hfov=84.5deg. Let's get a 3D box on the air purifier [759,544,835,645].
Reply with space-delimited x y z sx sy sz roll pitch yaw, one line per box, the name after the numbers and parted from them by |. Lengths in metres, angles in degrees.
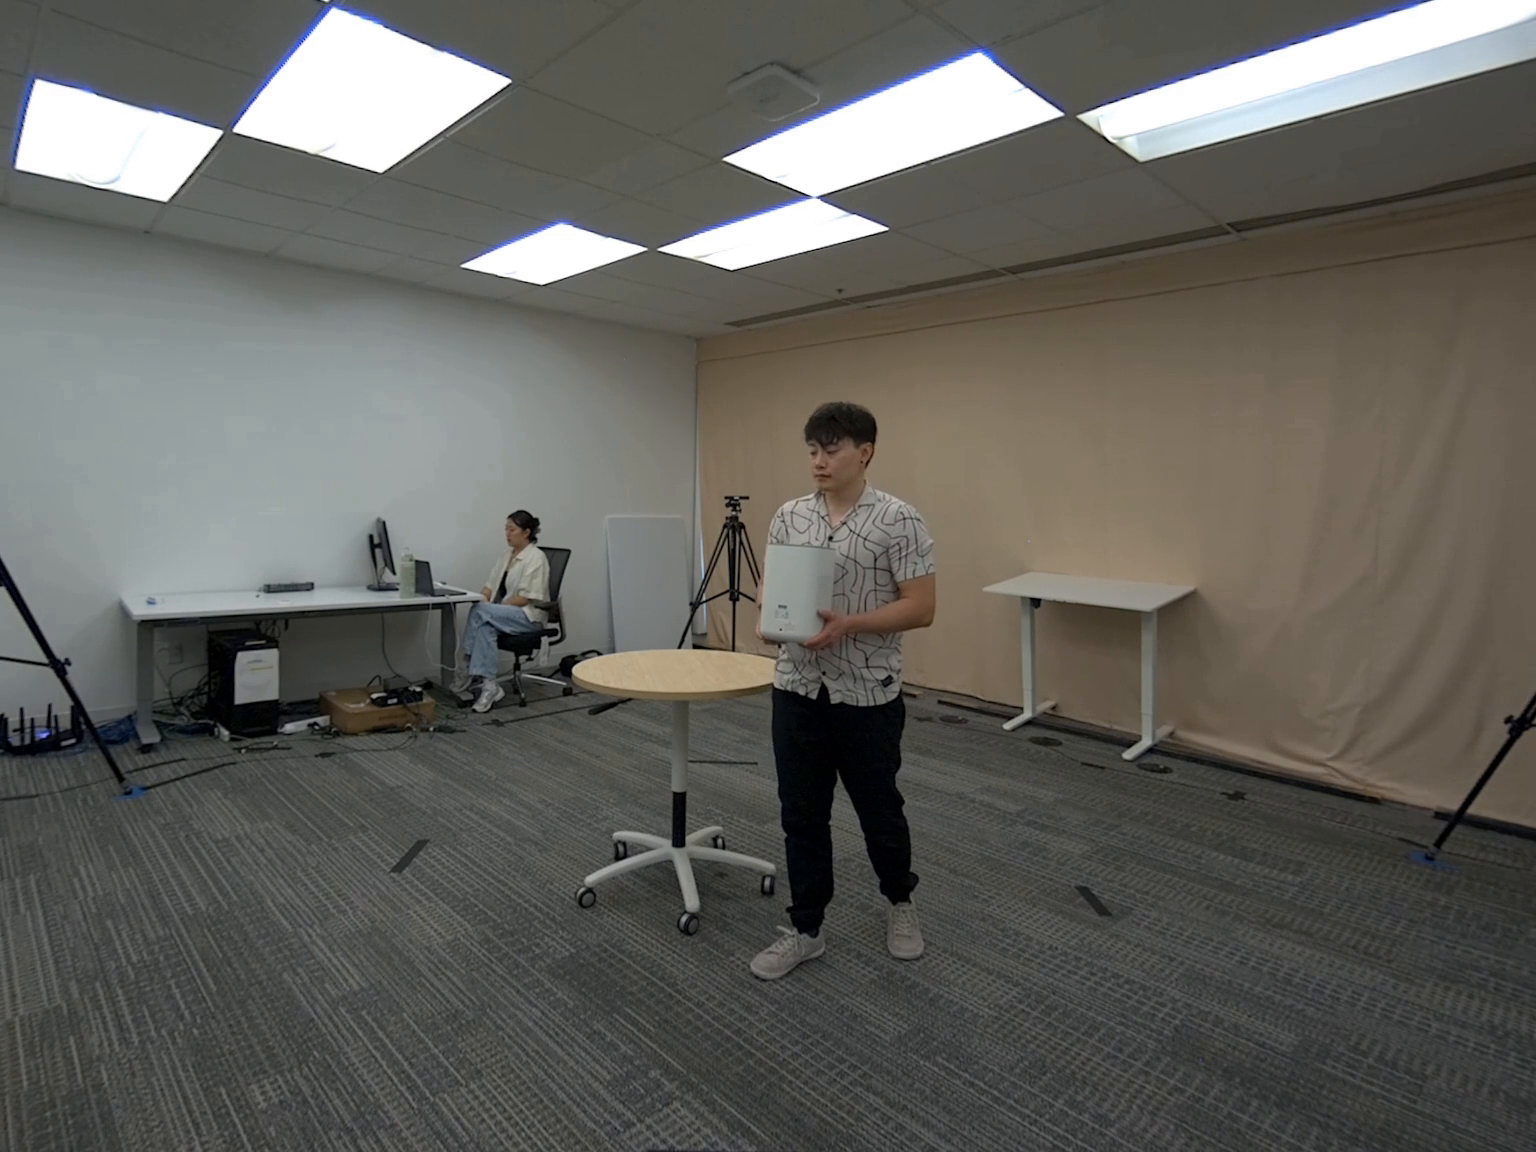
0.075 0.053 2.331 0.175 0.265 0.167 7 0 30 | air purifier
